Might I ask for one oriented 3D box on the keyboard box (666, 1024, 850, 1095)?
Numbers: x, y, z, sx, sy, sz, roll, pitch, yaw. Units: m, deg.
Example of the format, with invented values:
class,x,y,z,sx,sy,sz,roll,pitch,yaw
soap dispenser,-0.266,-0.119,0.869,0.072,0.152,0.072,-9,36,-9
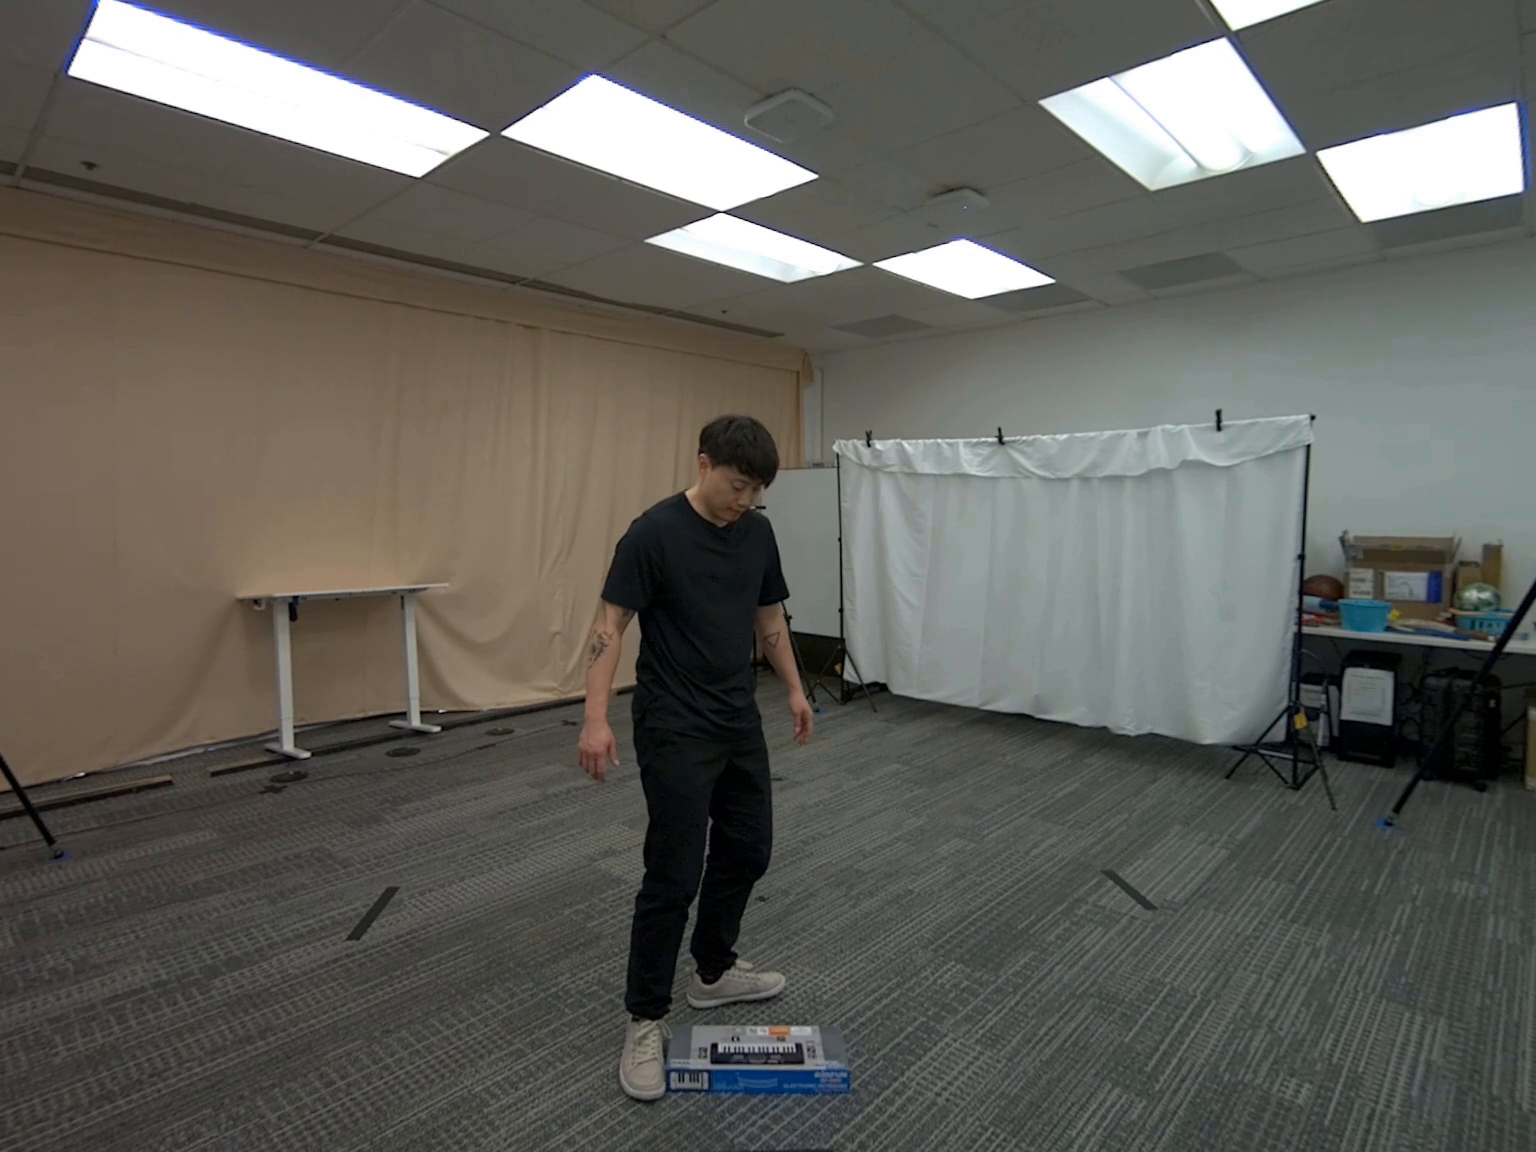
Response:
class,x,y,z,sx,sy,sz,roll,pitch,yaw
keyboard box,-0.019,1.191,2.075,0.437,0.059,0.176,0,5,0
